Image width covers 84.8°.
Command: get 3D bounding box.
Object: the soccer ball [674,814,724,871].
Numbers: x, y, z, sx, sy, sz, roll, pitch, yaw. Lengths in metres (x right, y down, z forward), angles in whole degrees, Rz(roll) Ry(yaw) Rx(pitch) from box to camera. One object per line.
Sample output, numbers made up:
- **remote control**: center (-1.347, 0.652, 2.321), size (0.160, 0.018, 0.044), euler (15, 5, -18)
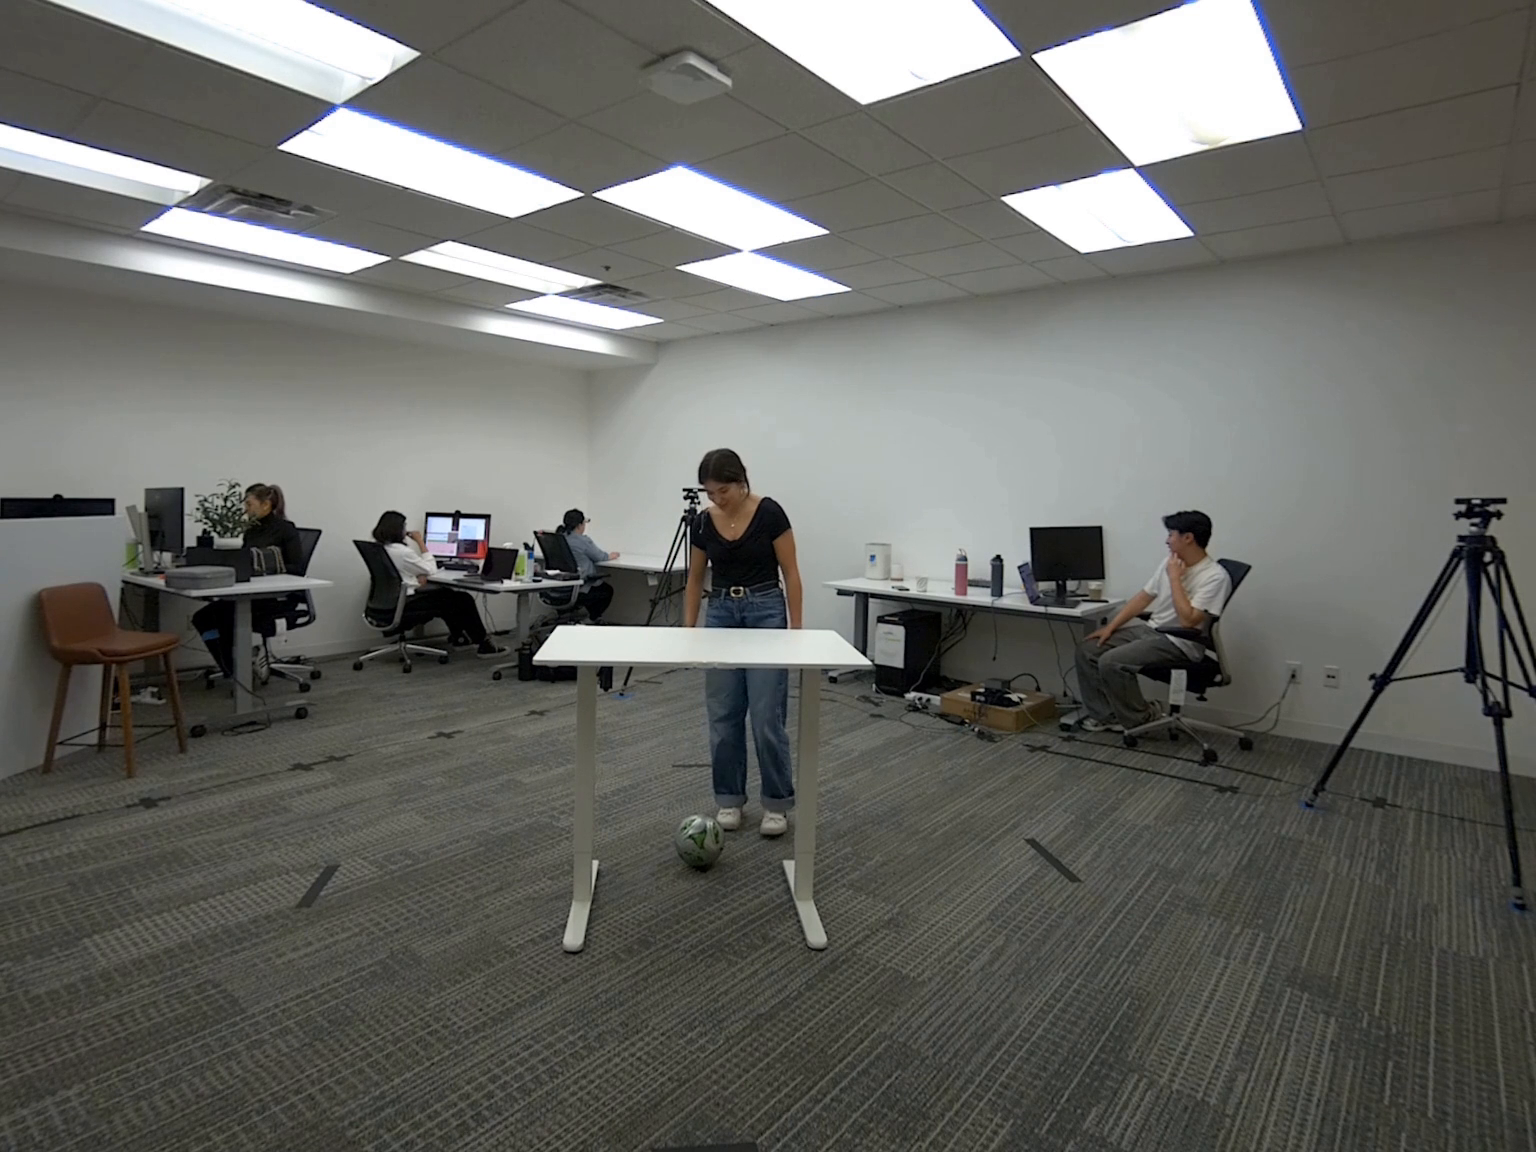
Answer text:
- **soccer ball**: center (-0.252, 0.972, 3.143), size (0.187, 0.187, 0.188), euler (1, 4, -2)
